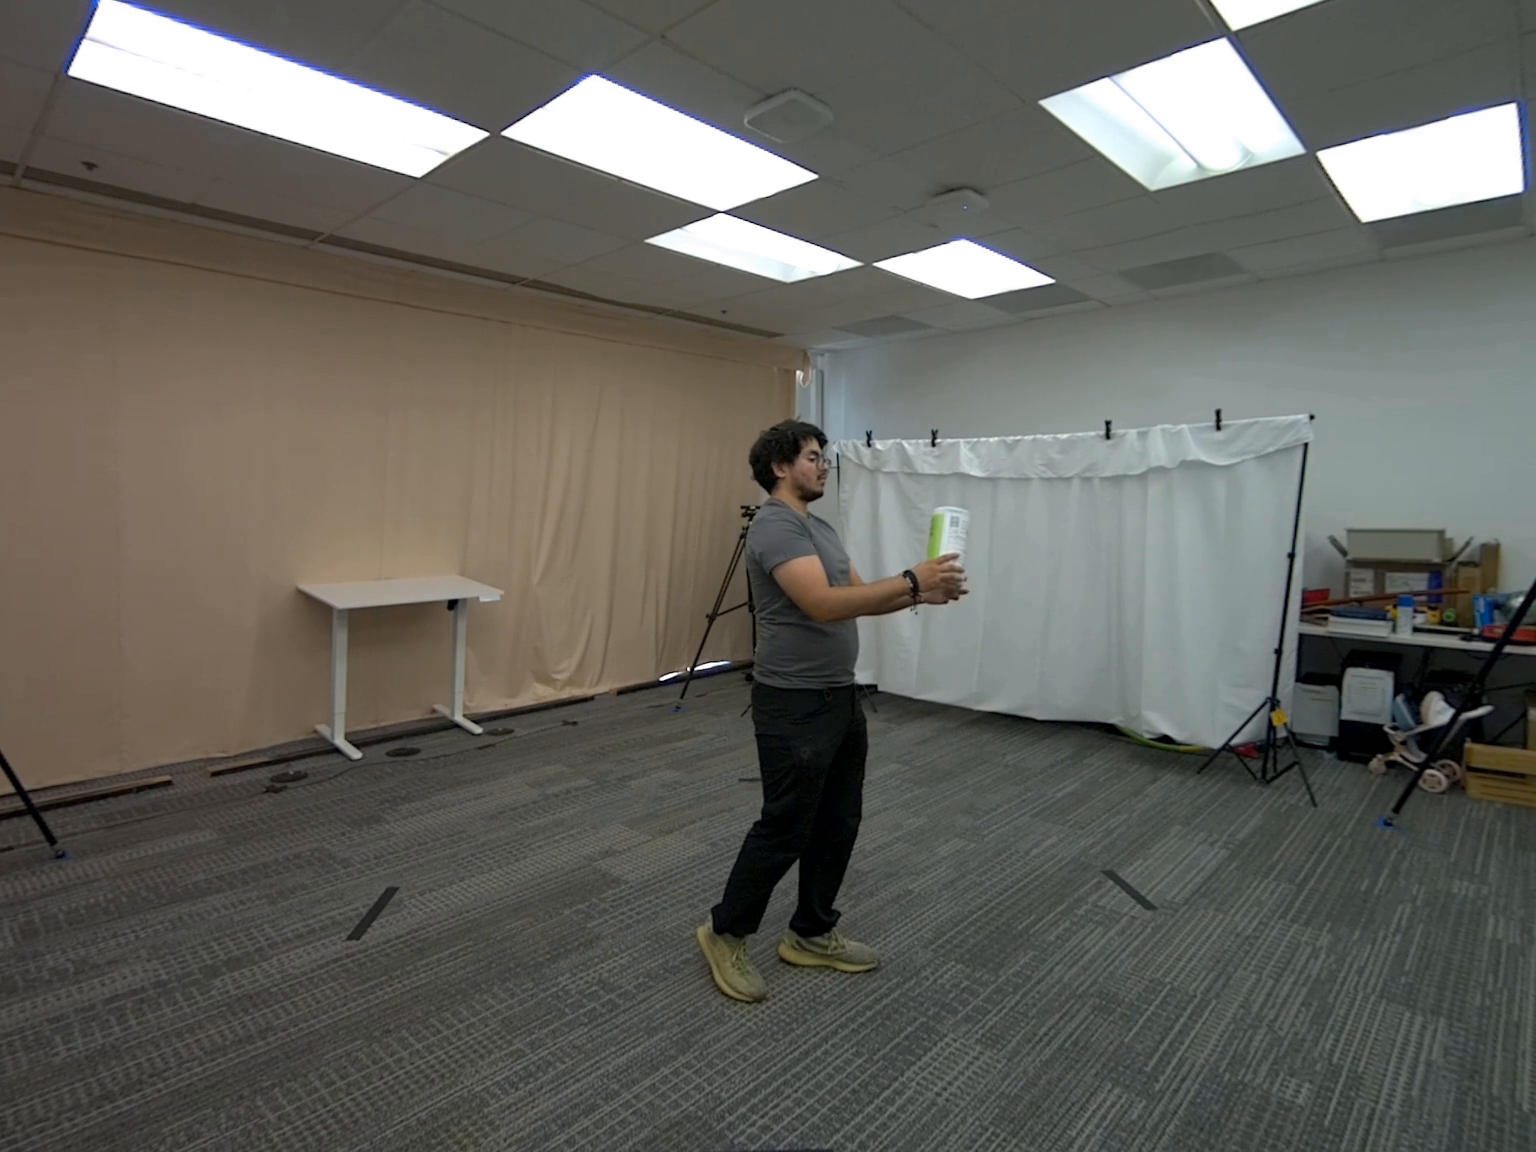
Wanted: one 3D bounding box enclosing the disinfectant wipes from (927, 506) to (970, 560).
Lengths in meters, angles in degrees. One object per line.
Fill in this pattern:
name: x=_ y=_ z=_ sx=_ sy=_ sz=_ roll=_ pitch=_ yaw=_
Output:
disinfectant wipes: x=0.513 y=-0.079 z=2.359 sx=0.118 sy=0.218 sz=0.117 roll=8 pitch=-11 yaw=0
